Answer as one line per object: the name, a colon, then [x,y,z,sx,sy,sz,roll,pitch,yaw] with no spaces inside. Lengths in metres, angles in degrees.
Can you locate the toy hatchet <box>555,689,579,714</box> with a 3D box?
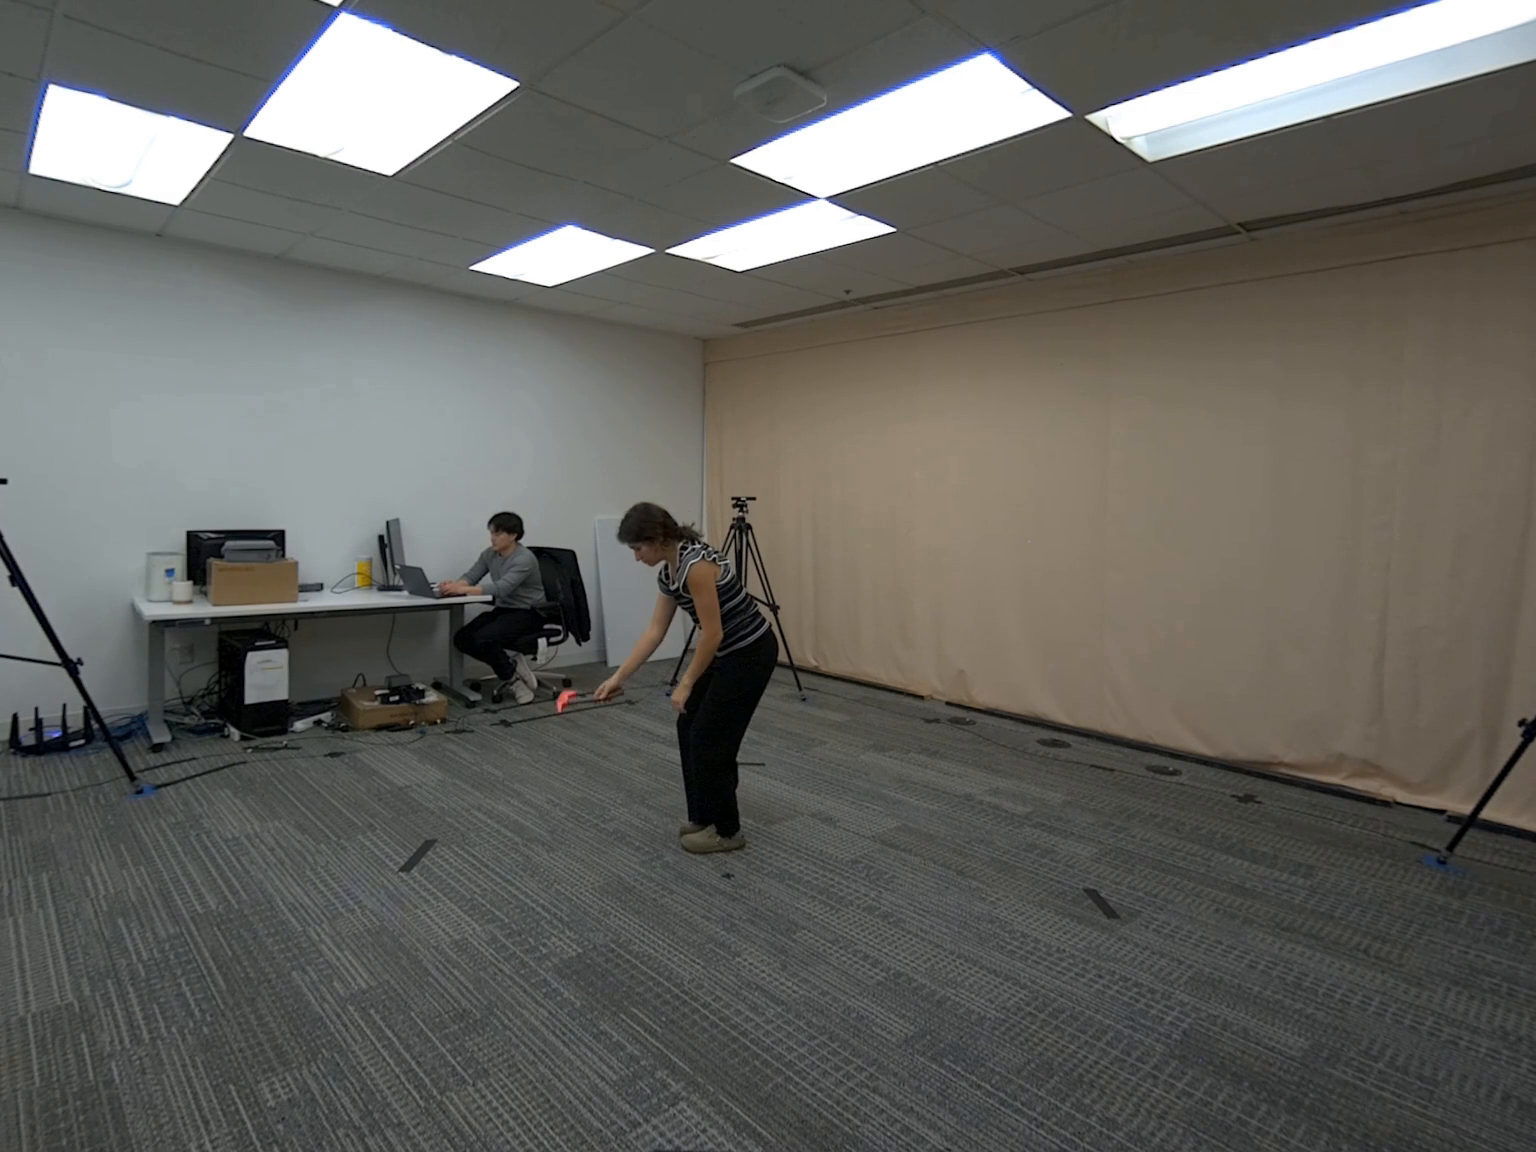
toy hatchet: [-0.722,0.470,3.375,0.268,0.029,0.135,-16,28,-14]
